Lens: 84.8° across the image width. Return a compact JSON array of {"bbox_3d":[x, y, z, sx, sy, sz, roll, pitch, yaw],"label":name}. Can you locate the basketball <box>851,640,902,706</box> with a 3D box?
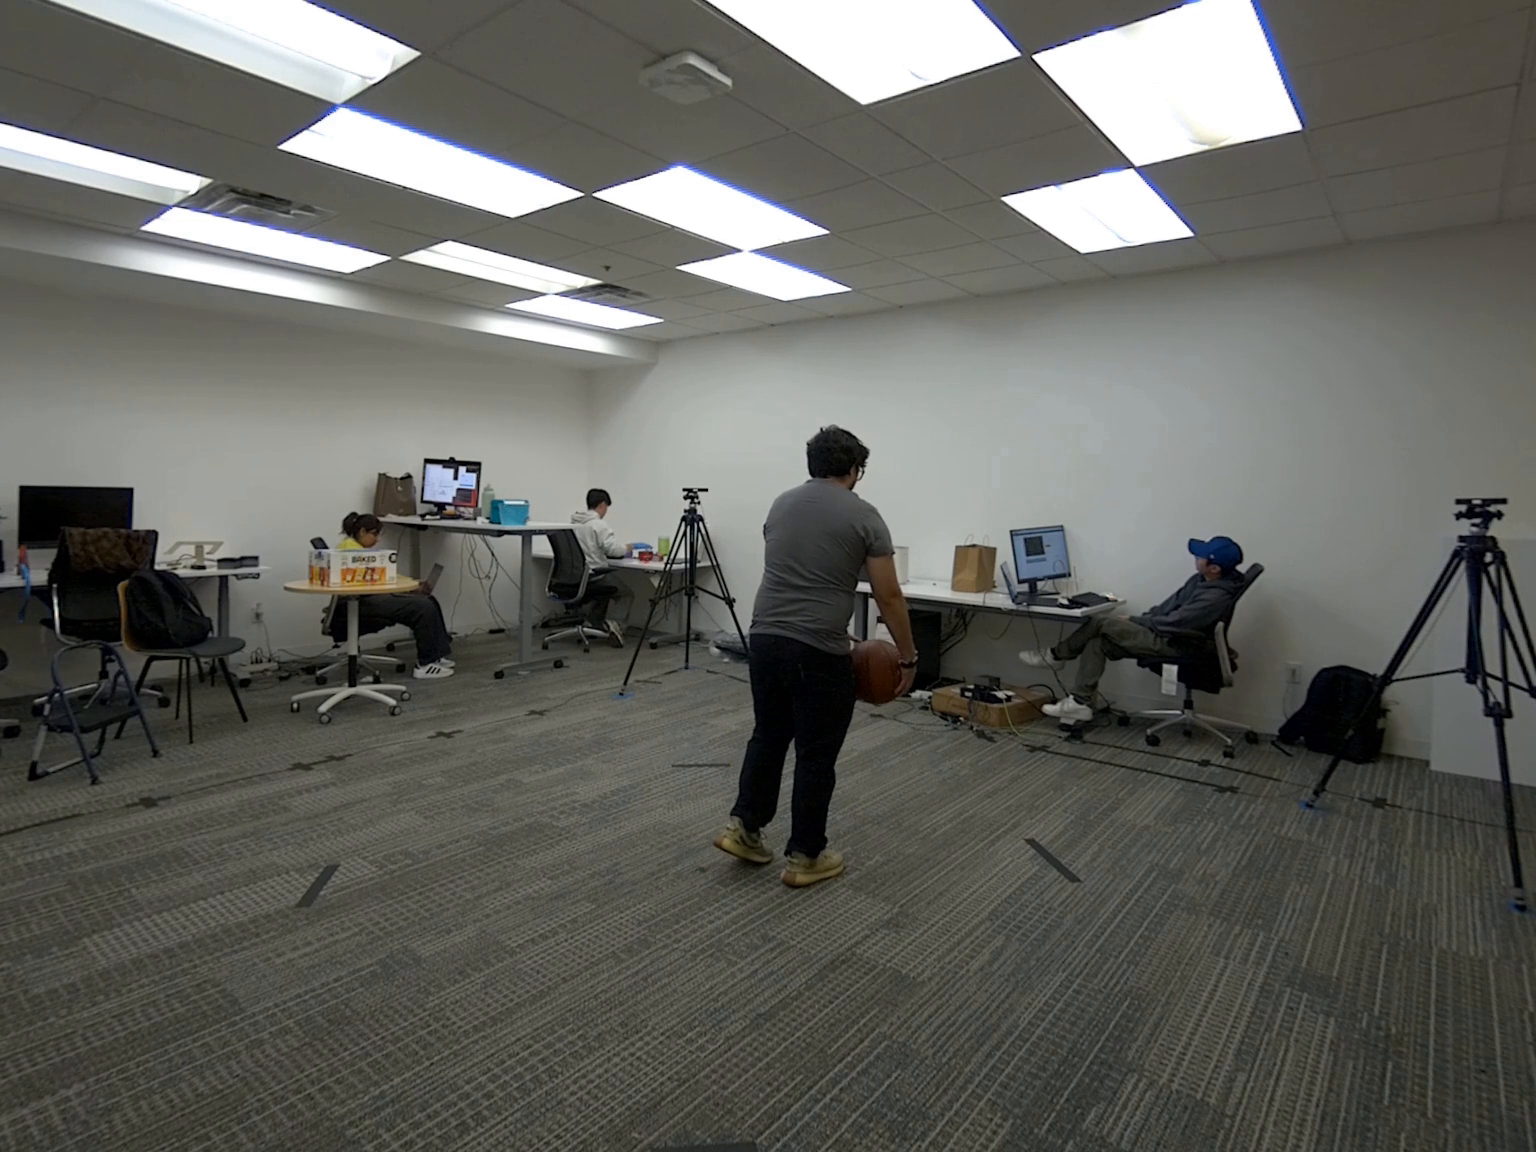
[{"bbox_3d":[0.392,0.344,3.156,0.235,0.235,0.237,1,4,-2],"label":"basketball"}]
